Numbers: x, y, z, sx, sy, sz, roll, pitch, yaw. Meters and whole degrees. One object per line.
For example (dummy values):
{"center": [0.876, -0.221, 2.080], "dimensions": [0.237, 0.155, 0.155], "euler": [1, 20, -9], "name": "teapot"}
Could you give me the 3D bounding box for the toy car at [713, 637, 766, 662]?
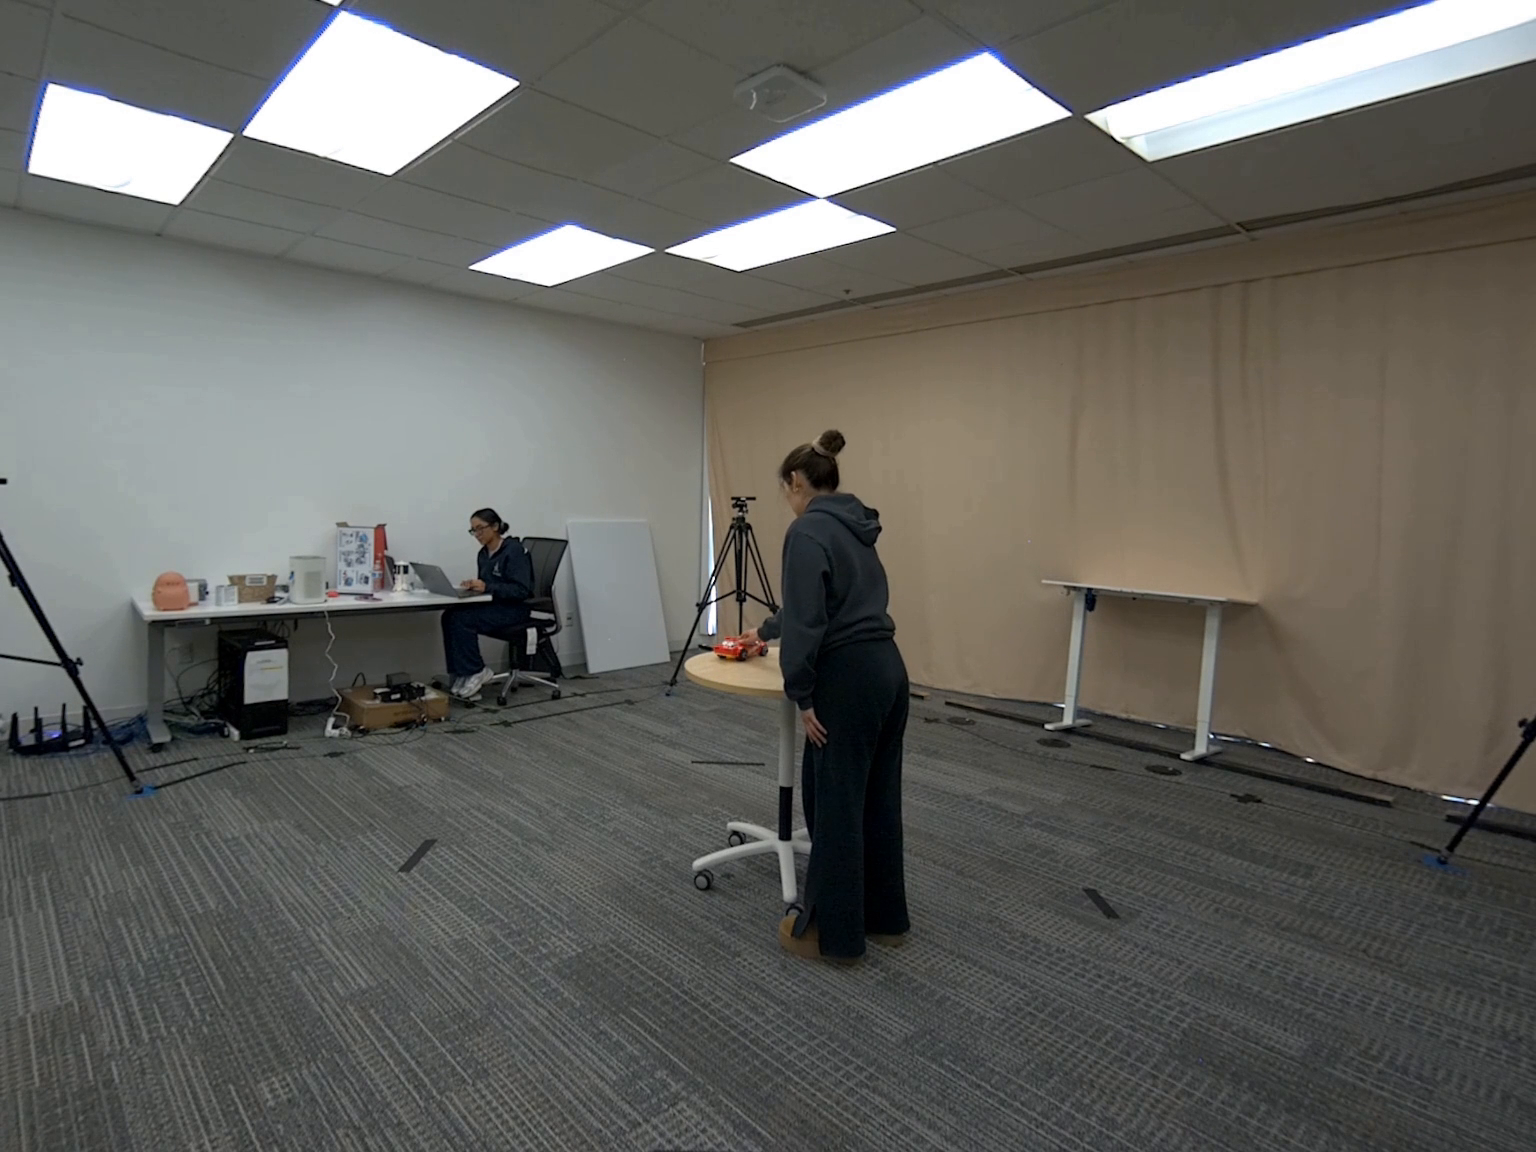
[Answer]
{"center": [-0.125, 0.283, 3.219], "dimensions": [0.133, 0.083, 0.248], "euler": [5, -5, 35], "name": "toy car"}
